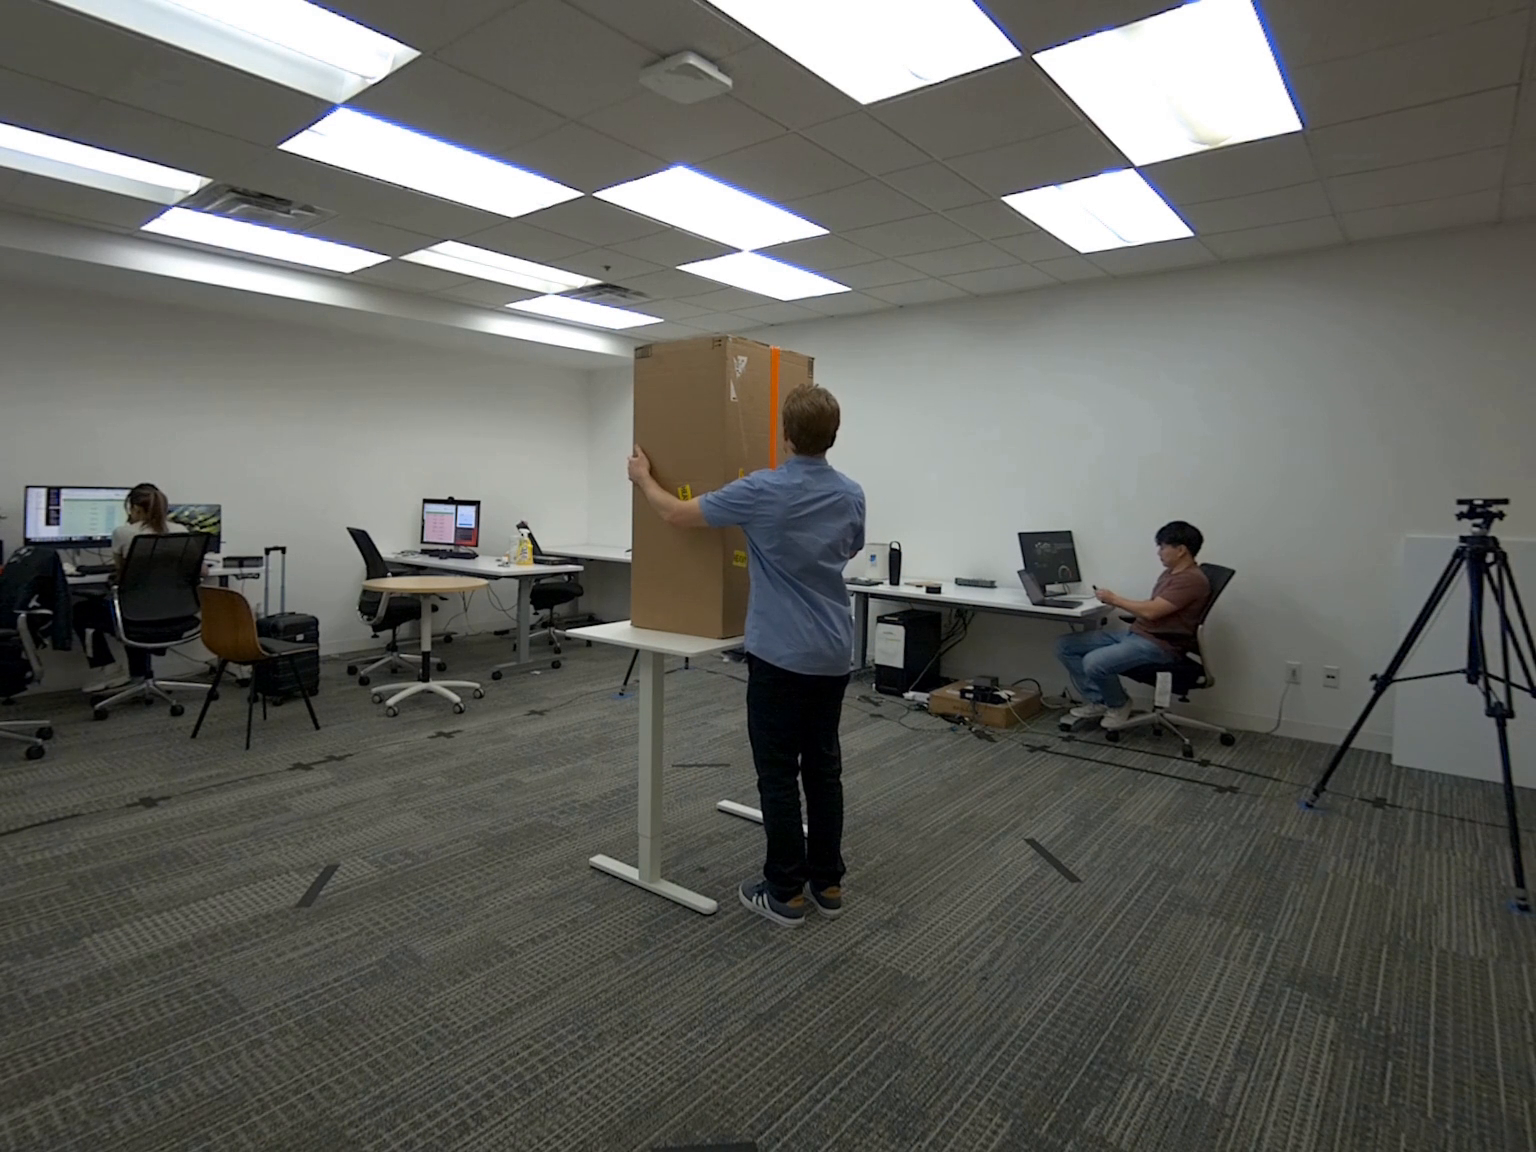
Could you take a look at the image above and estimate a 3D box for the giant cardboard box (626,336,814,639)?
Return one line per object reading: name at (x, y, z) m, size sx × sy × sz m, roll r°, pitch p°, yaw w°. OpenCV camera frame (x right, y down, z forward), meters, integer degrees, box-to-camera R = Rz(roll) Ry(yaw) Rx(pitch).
giant cardboard box at (-0.170, -0.329, 3.190) m, size 0.440 × 1.023 × 0.561 m, roll 3°, pitch 4°, yaw 35°
